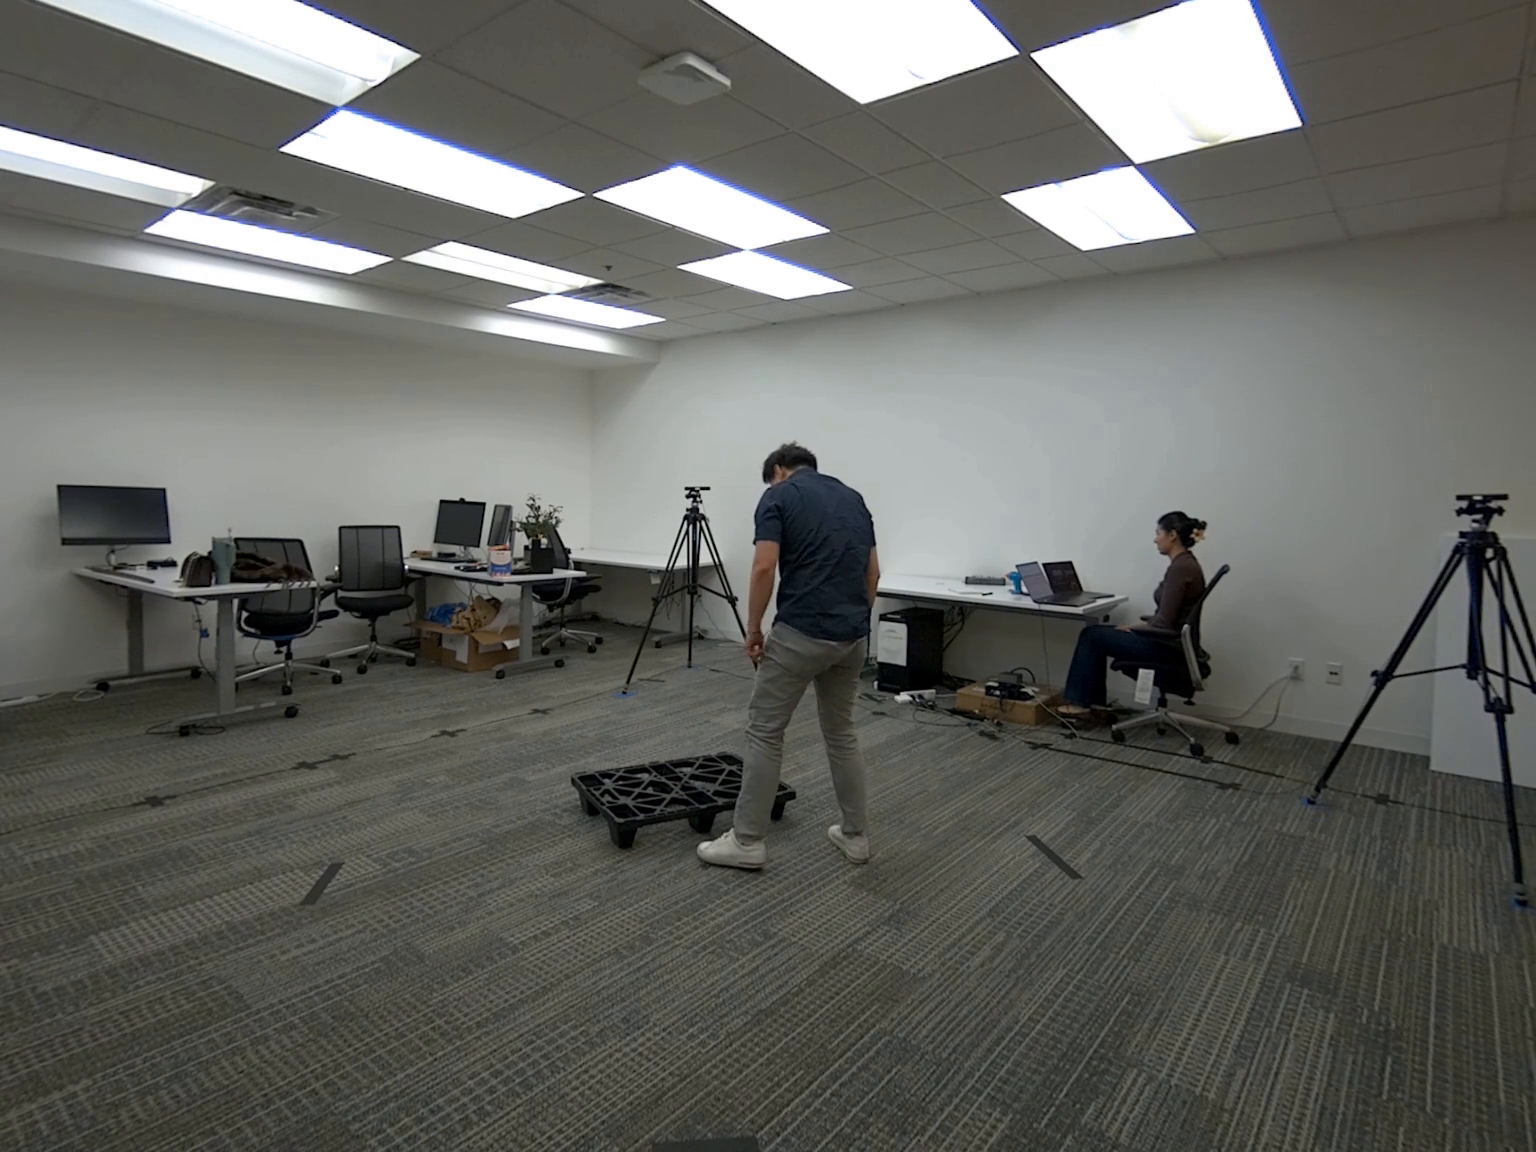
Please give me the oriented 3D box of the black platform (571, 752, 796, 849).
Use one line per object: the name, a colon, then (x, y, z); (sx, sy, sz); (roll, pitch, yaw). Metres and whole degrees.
black platform: (-0.386, 0.944, 3.634); (0.785, 0.143, 0.623); (-2, 6, -29)
